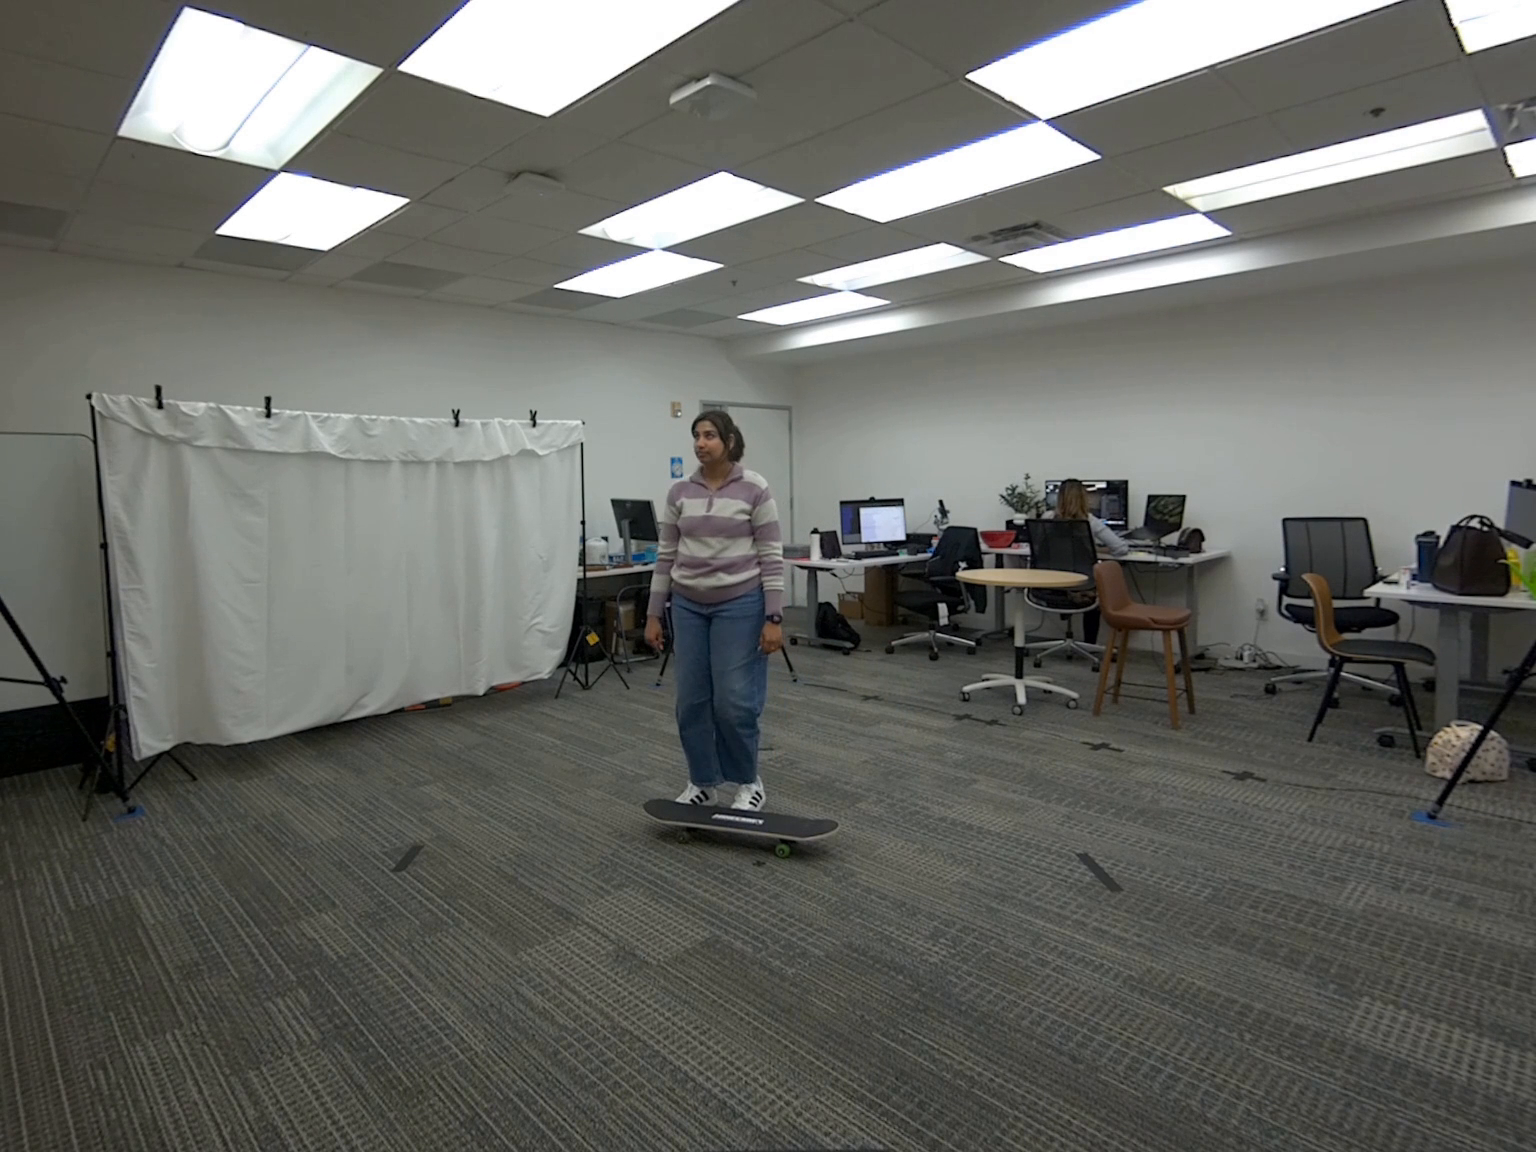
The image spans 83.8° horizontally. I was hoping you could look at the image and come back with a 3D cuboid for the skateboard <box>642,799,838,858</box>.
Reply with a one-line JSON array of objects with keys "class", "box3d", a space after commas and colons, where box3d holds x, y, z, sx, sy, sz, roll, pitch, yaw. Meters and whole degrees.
[{"class": "skateboard", "box3d": [-0.111, 0.969, 3.297, 0.800, 0.110, 0.191, 1, 6, 19]}]
